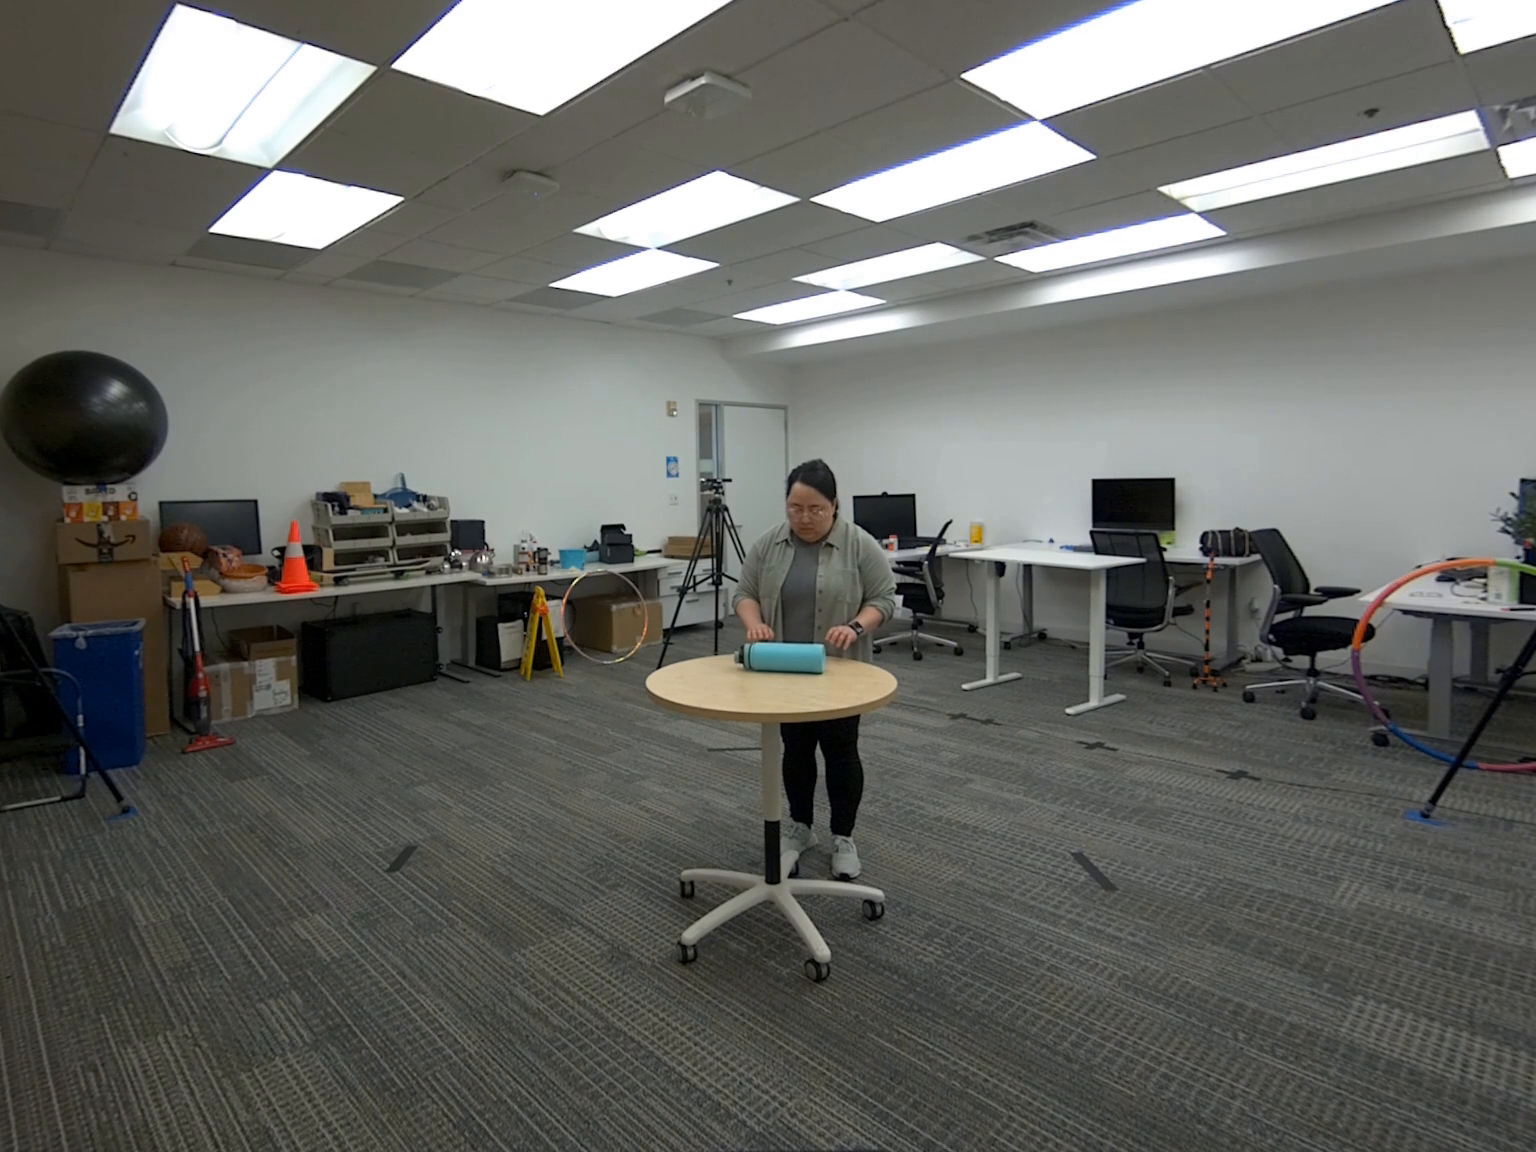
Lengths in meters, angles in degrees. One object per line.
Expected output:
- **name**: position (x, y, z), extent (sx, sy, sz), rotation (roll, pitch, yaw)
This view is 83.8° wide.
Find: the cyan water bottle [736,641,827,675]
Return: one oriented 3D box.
- **cyan water bottle**: position (0.042, 0.263, 2.724), extent (0.287, 0.092, 0.091), rotation (0, 5, 14)
